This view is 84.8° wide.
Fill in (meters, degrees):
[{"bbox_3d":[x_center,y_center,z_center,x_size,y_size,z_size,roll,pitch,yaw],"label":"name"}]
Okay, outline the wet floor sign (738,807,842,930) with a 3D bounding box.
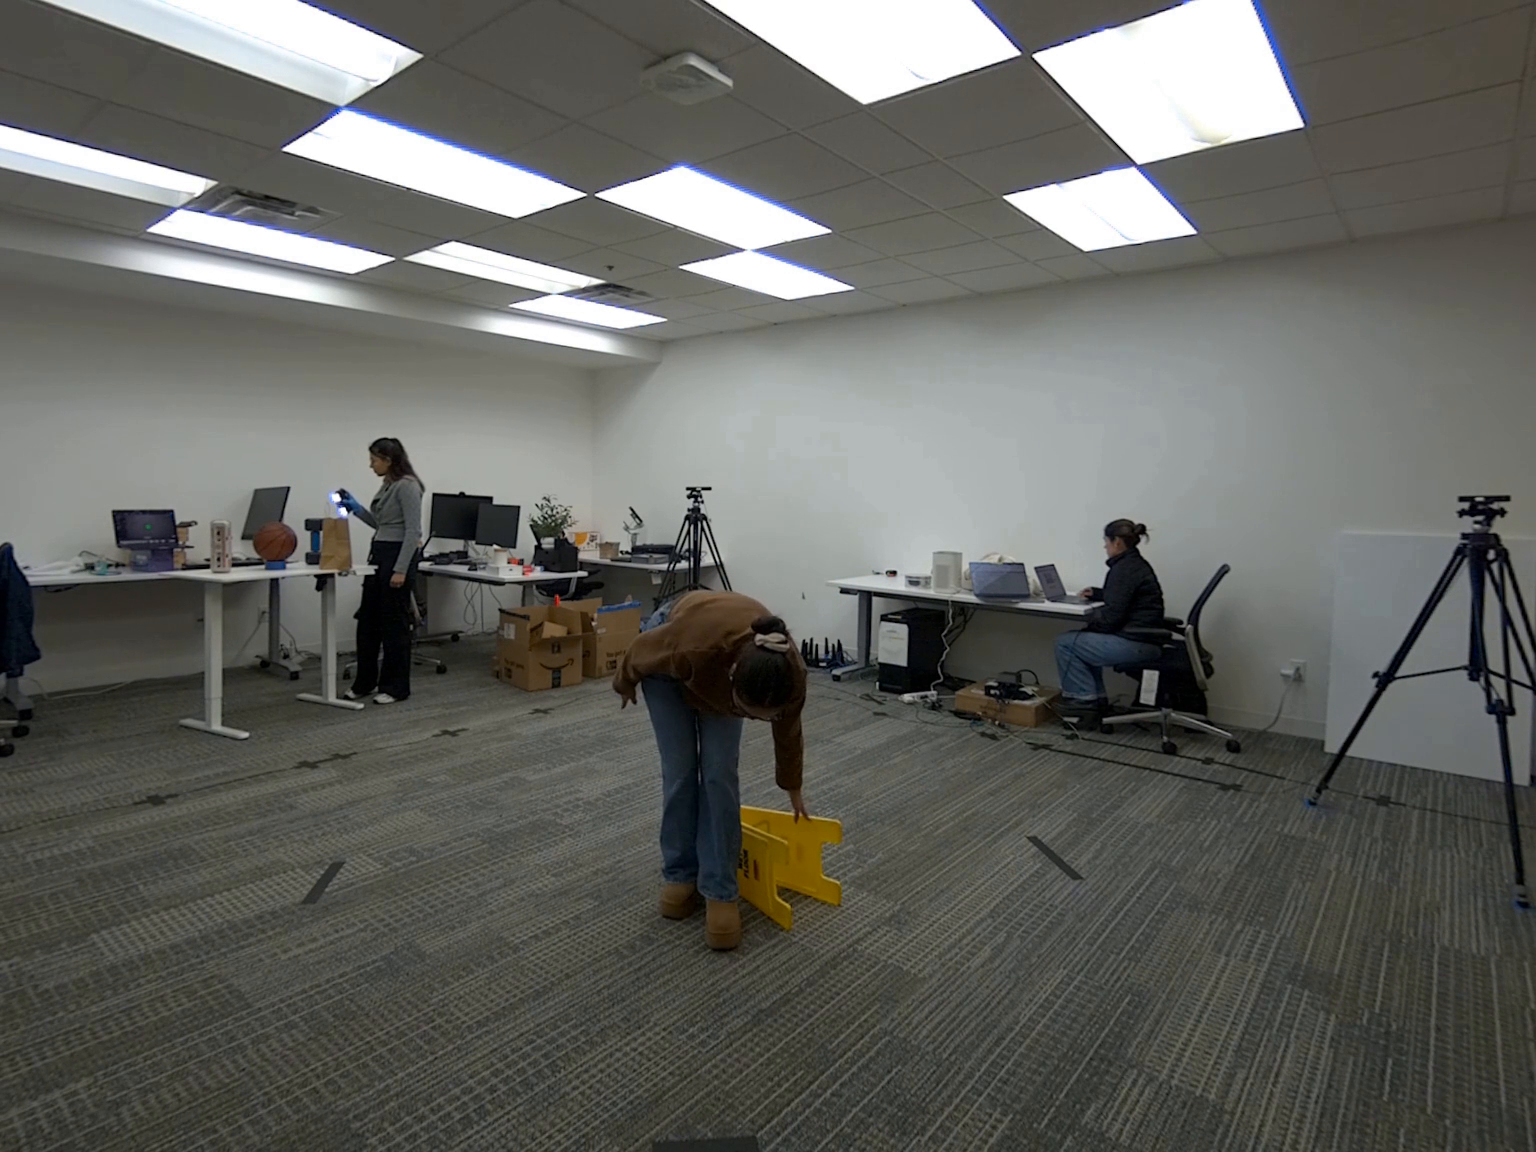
[{"bbox_3d":[-0.094,0.951,2.985,0.667,0.282,0.281,2,3,45],"label":"wet floor sign"}]
